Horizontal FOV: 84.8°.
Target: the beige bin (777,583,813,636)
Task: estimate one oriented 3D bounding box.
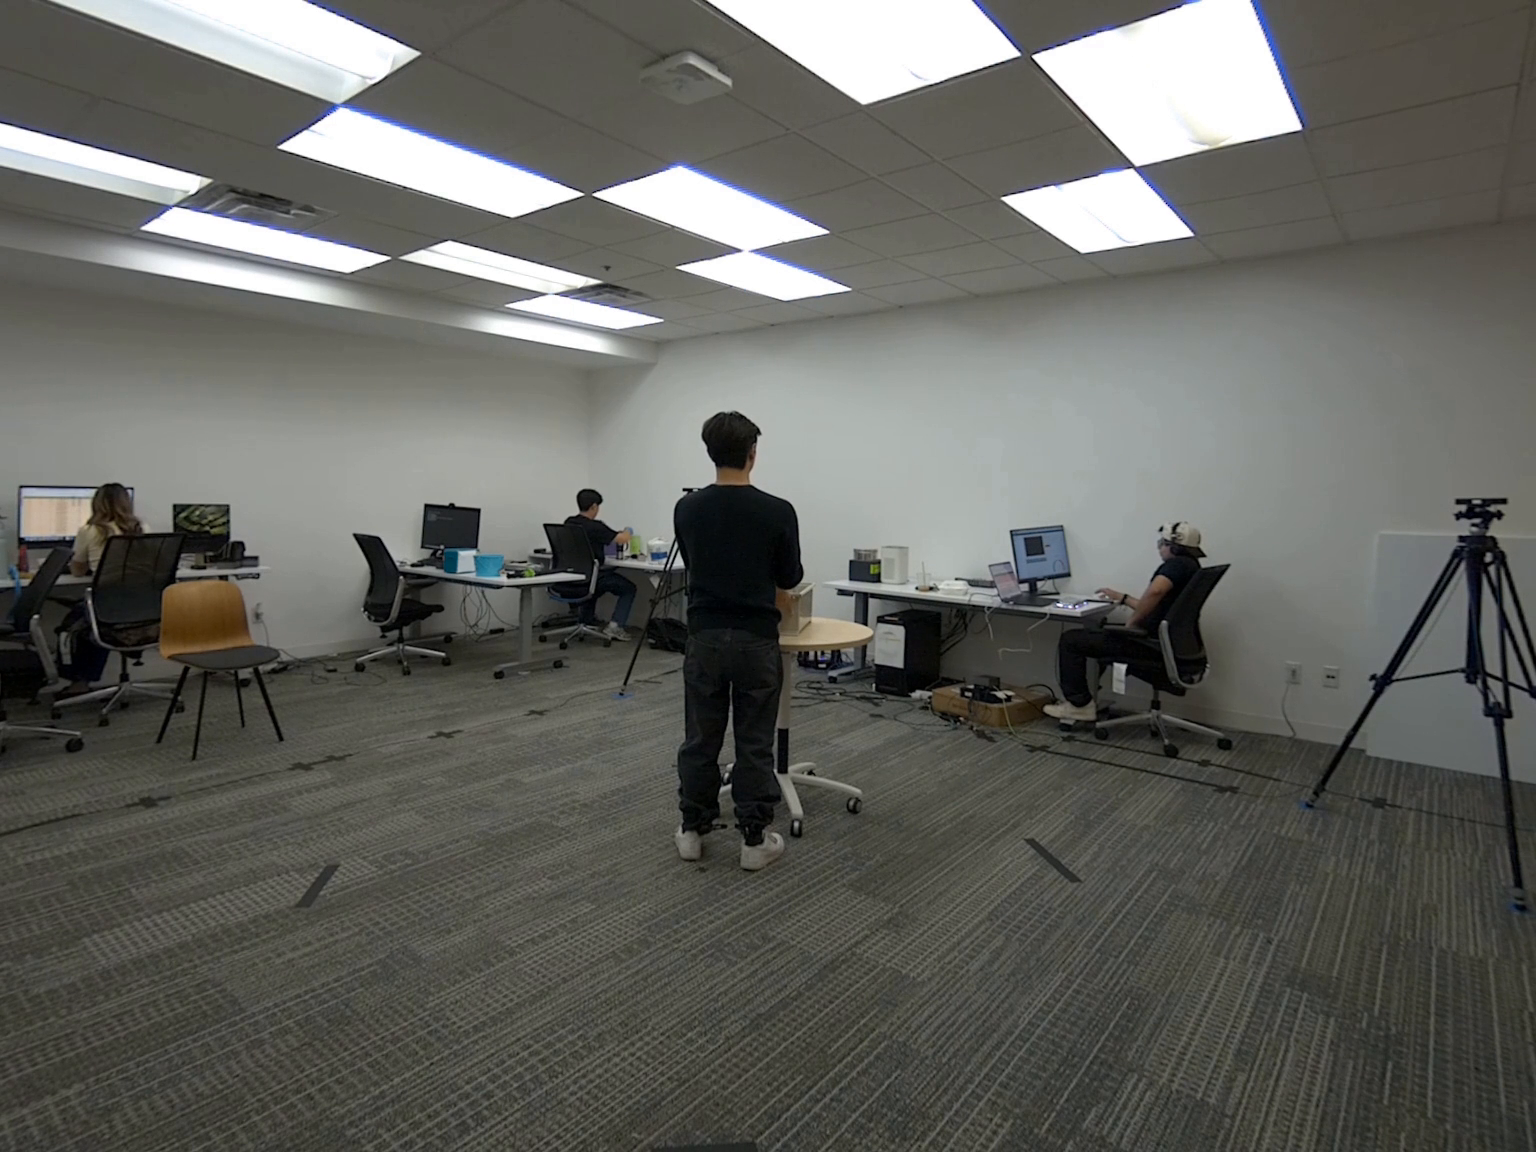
[{"bbox_3d":[-0.011,0.131,3.798,0.383,0.188,0.418,4,5,11],"label":"beige bin"}]
